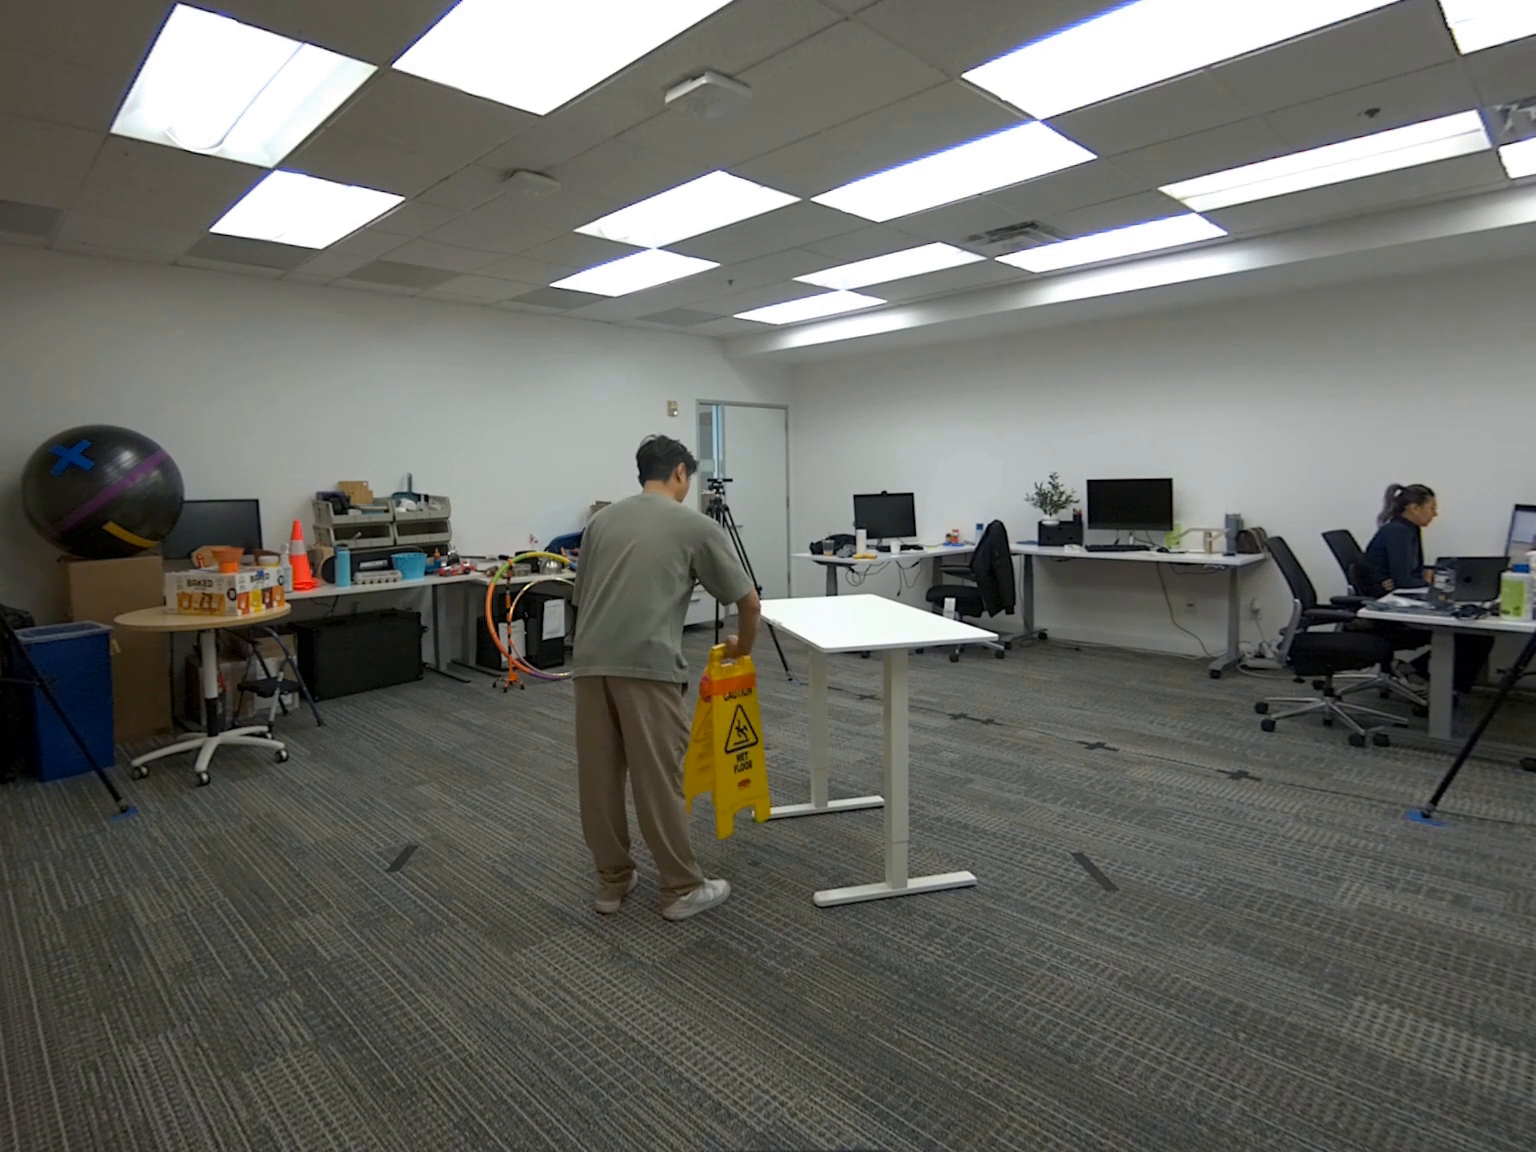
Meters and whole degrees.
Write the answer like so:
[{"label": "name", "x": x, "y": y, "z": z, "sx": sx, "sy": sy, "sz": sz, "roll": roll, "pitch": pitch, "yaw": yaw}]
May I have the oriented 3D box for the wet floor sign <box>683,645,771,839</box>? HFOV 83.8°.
[{"label": "wet floor sign", "x": -0.149, "y": 0.551, "z": 3.075, "sx": 0.299, "sy": 0.643, "sz": 0.274, "roll": 7, "pitch": 6, "yaw": 40}]
